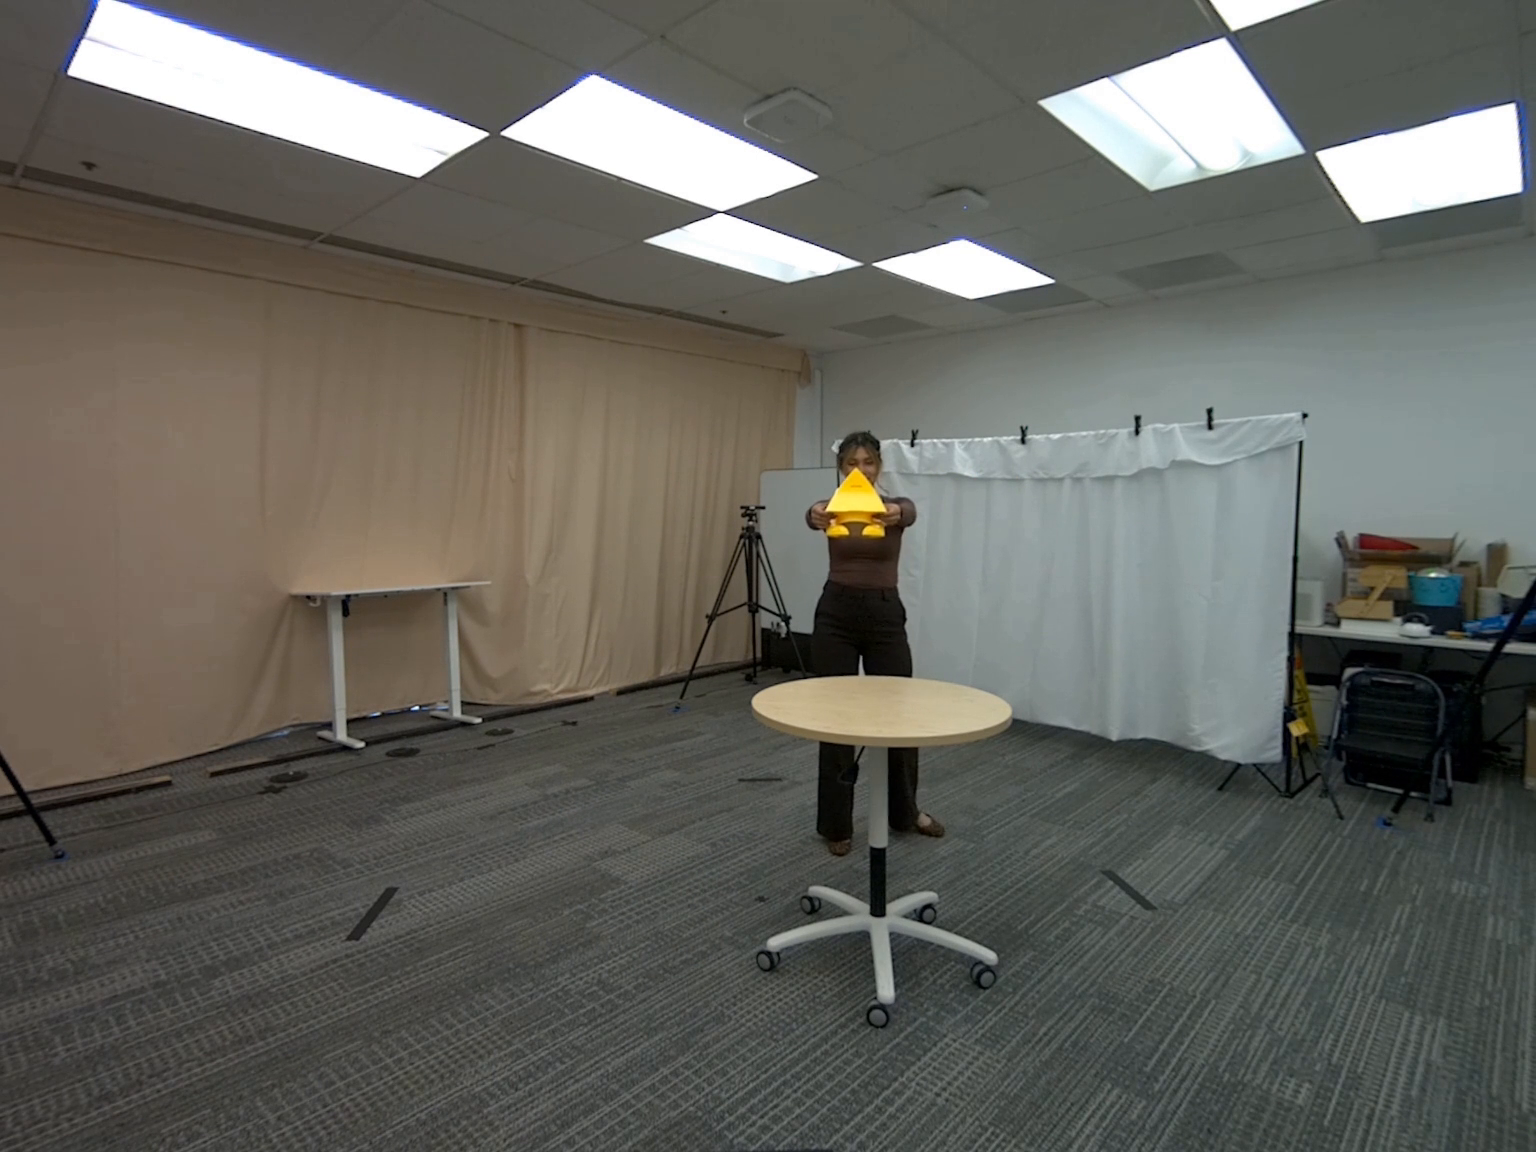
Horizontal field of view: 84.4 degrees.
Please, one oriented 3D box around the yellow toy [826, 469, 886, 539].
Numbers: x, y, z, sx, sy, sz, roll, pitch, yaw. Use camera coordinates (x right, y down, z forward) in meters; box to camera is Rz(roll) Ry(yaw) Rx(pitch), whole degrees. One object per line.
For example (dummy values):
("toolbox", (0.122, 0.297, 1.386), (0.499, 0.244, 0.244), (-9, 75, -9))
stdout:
("yellow toy", (0.311, -0.255, 2.939), (0.206, 0.231, 0.191), (1, 0, 6))
